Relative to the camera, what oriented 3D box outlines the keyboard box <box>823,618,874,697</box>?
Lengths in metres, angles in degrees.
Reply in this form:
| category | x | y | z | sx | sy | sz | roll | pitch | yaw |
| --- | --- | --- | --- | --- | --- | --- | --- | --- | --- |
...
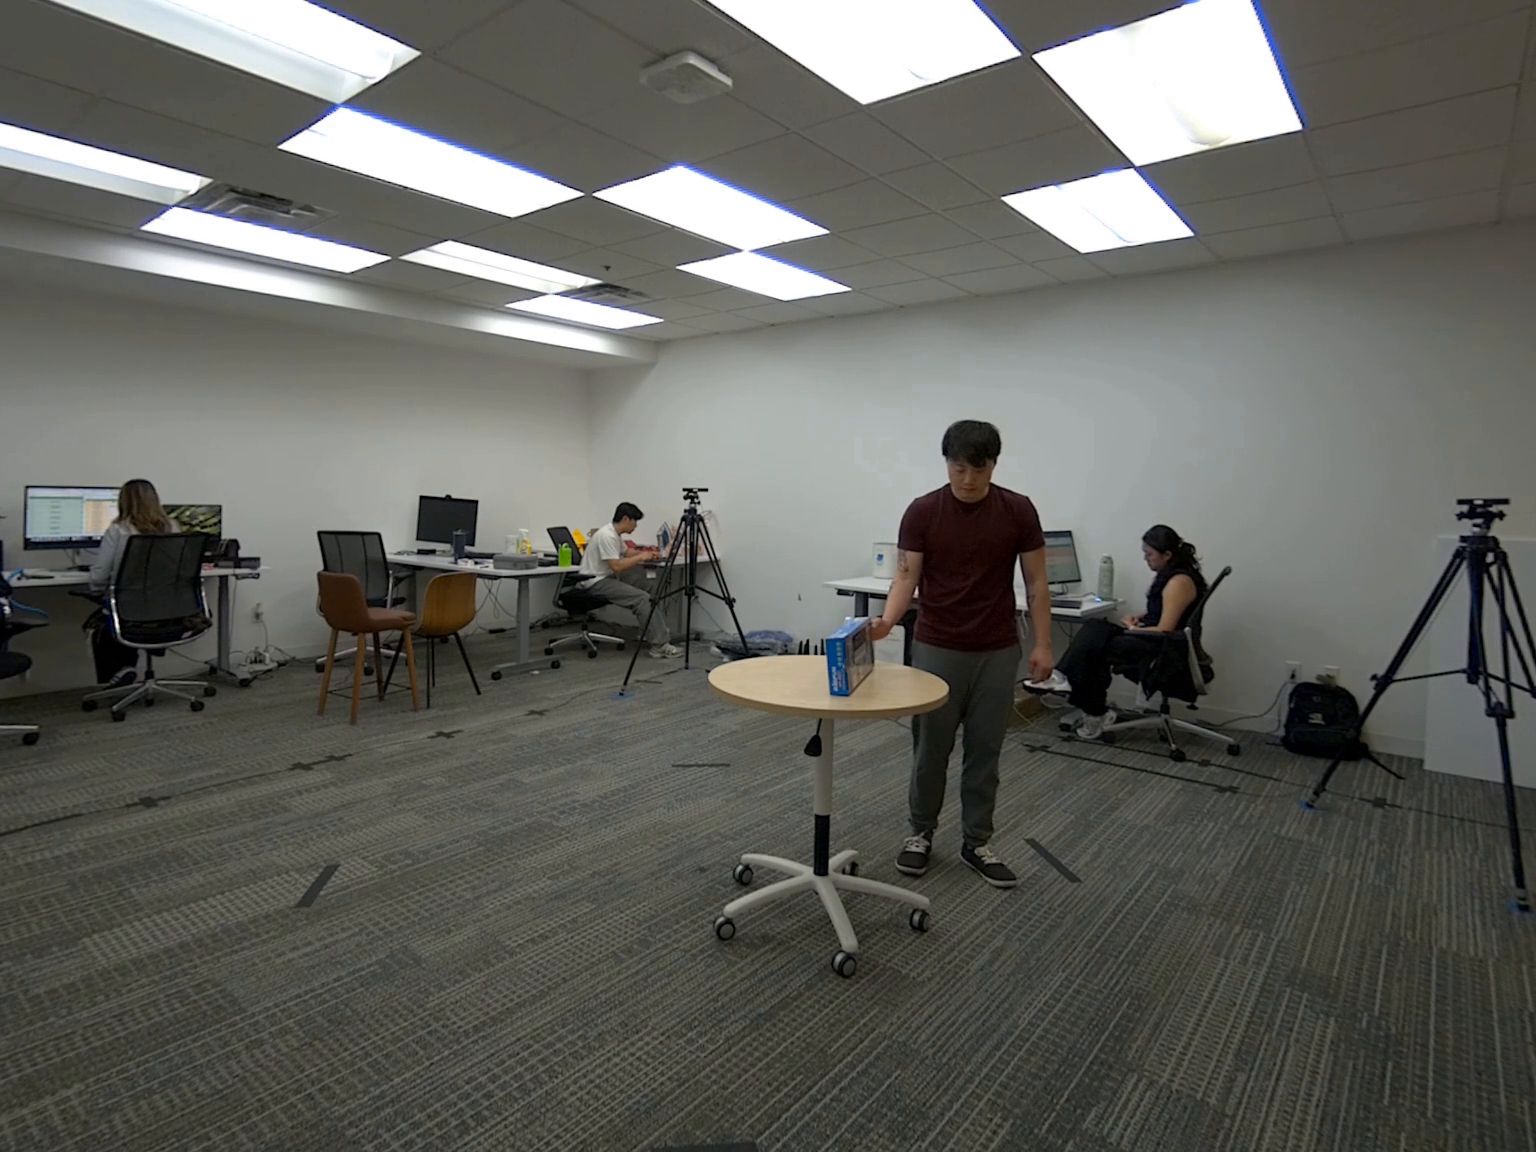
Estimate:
| category | x | y | z | sx | sy | sz | roll | pitch | yaw |
| --- | --- | --- | --- | --- | --- | --- | --- | --- | --- |
| keyboard box | 0.263 | 0.248 | 2.725 | 0.060 | 0.175 | 0.430 | -5 | 4 | 17 |
